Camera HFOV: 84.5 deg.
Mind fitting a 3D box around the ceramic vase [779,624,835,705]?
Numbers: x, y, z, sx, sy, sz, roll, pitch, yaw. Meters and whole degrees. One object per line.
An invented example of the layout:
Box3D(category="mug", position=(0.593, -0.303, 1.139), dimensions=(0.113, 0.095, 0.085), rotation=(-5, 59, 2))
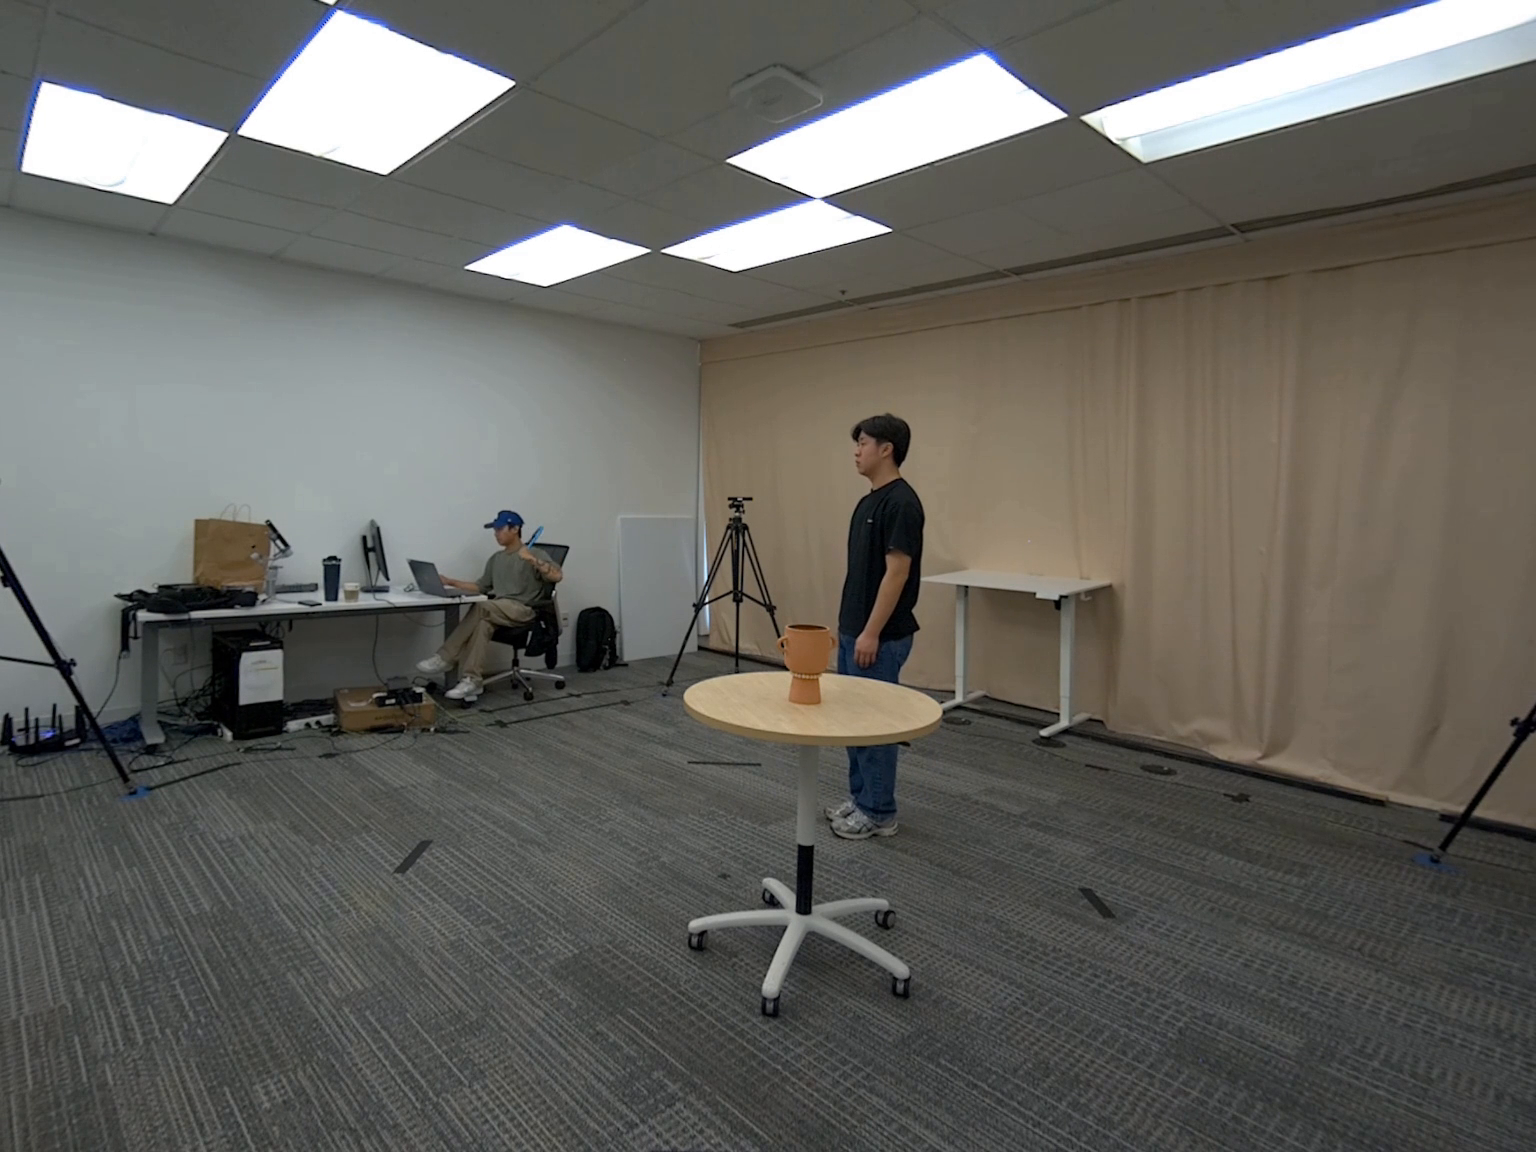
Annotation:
Box3D(category="ceramic vase", position=(0.113, 0.266, 2.487), dimensions=(0.160, 0.219, 0.133), rotation=(4, 4, 13))
